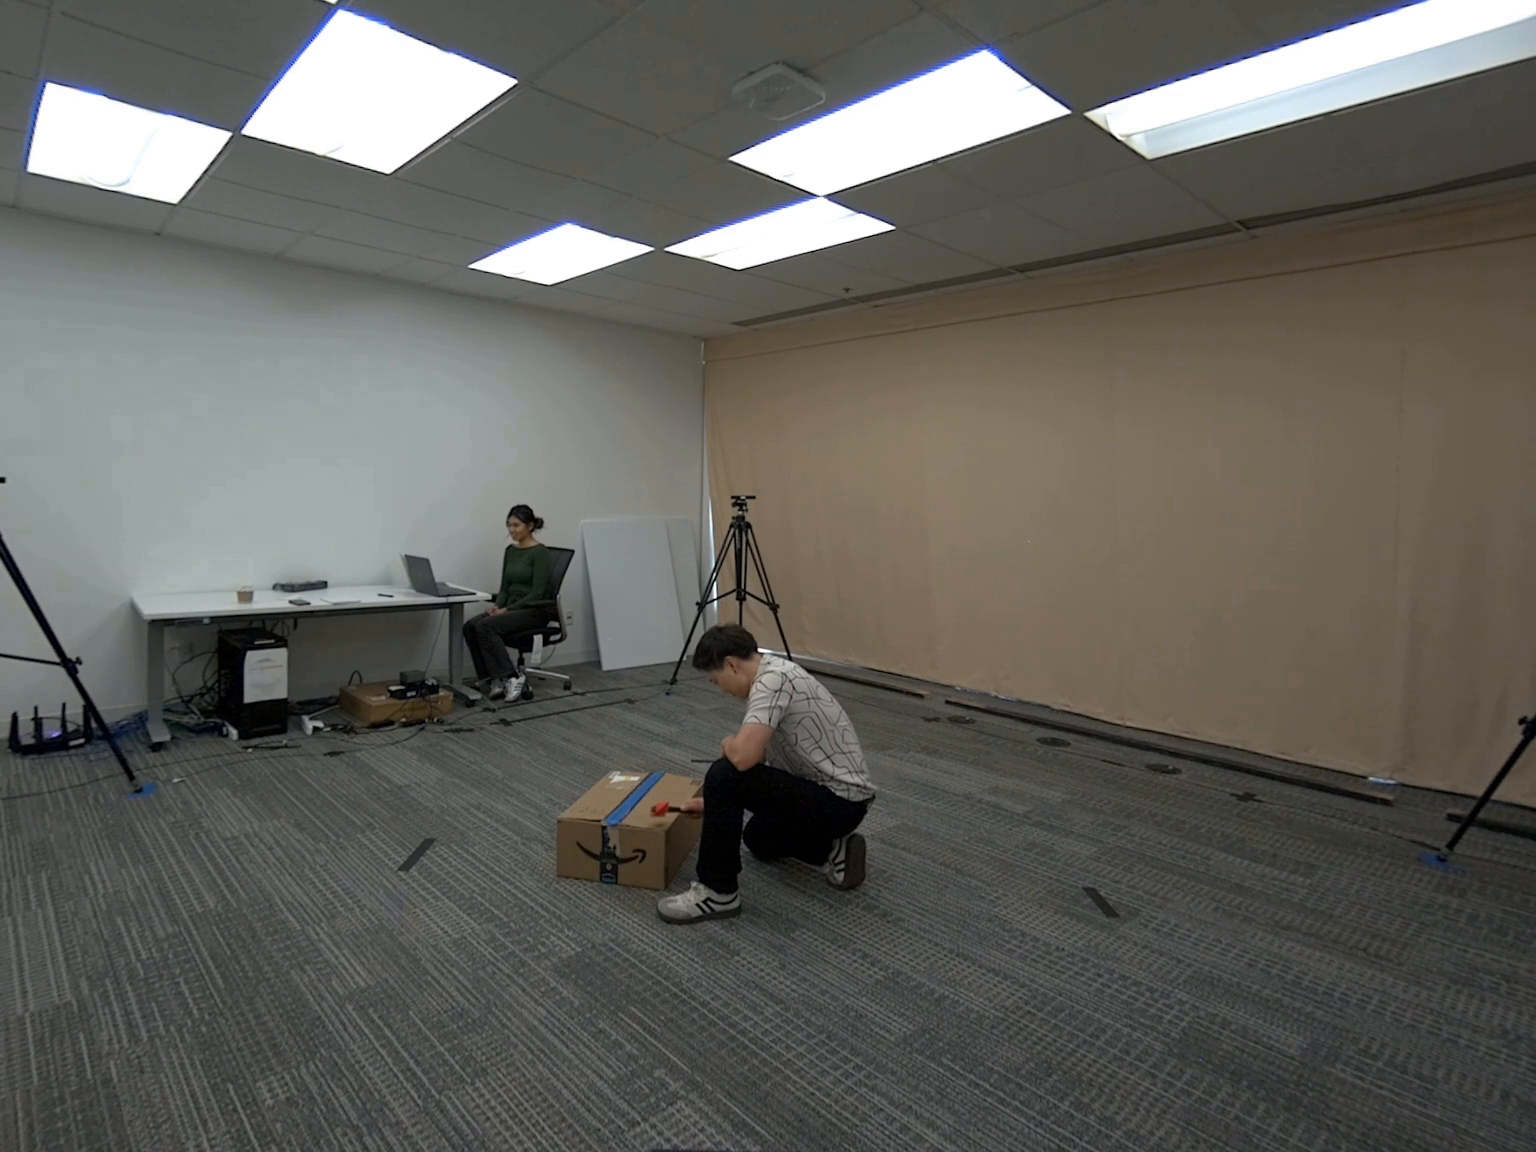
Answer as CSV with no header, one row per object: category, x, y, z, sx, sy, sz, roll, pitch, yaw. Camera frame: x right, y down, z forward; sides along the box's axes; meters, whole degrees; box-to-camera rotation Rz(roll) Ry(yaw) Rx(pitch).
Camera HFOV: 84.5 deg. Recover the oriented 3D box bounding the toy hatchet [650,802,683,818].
toy hatchet,-0.323,0.857,3.038,0.132,0.030,0.262,-35,-42,25
